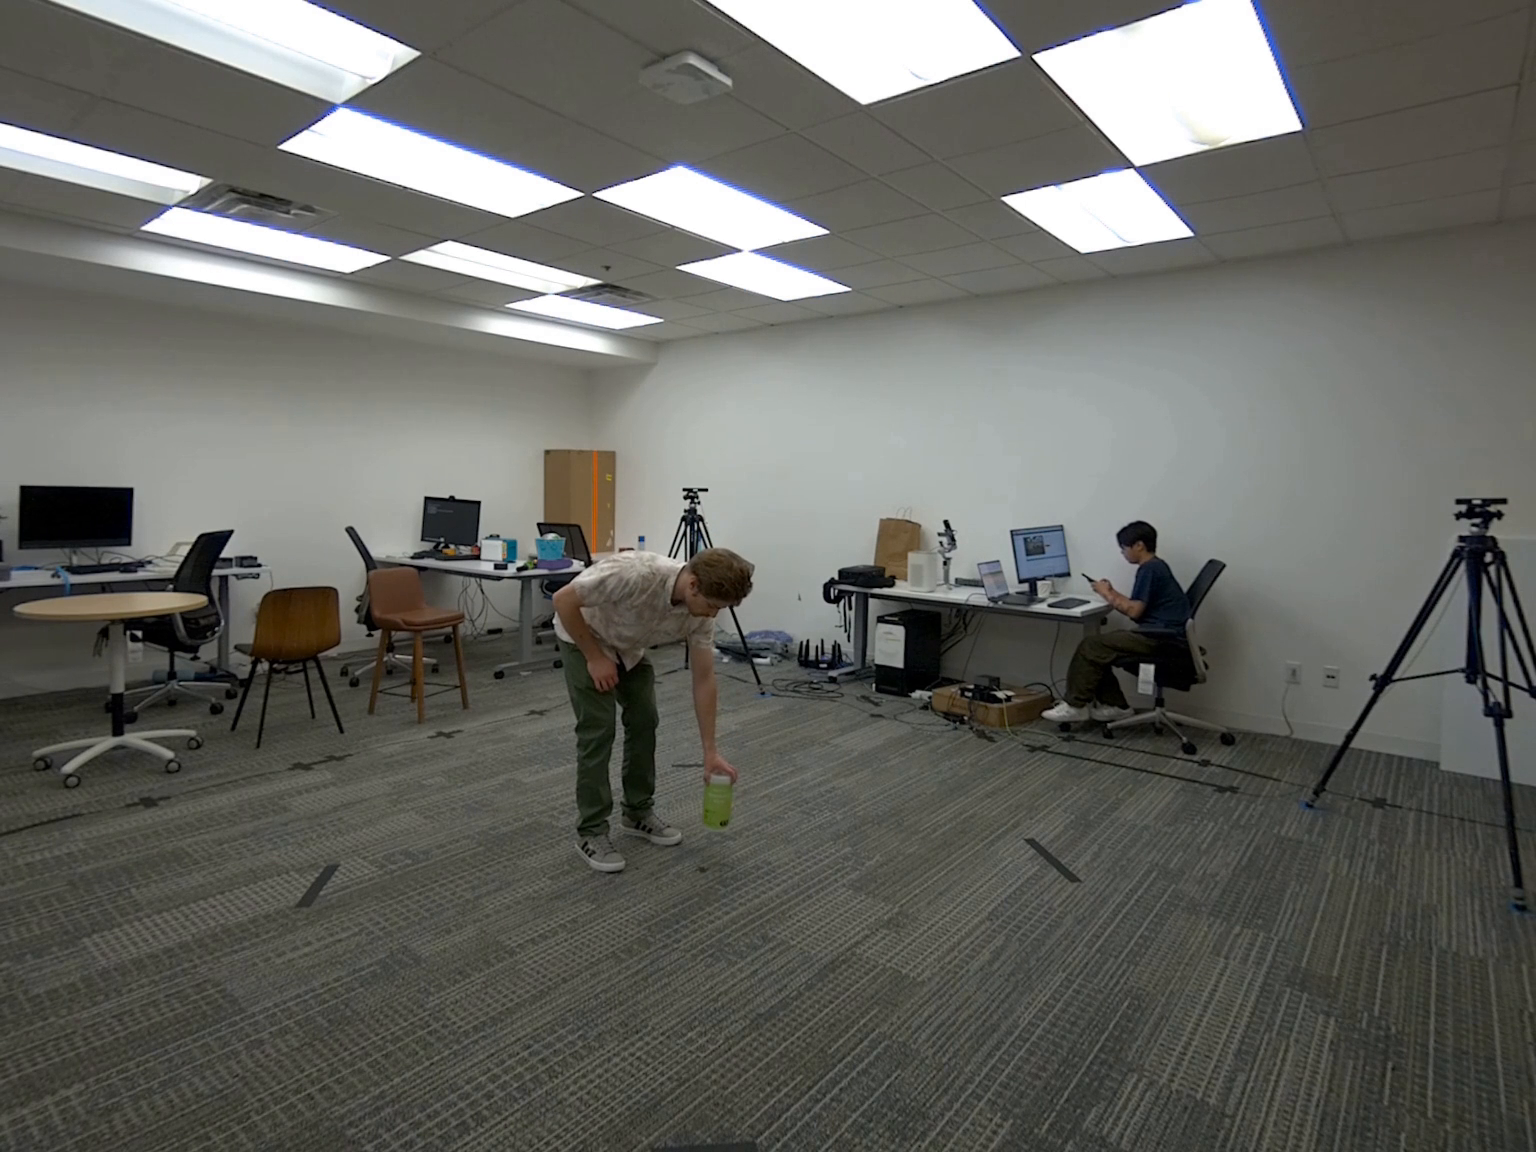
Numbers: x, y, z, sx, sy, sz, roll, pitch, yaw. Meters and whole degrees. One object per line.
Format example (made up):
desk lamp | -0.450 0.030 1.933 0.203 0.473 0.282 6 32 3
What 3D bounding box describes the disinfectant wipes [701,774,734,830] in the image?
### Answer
disinfectant wipes | -0.206 0.856 3.217 0.117 0.217 0.118 5 2 -2
